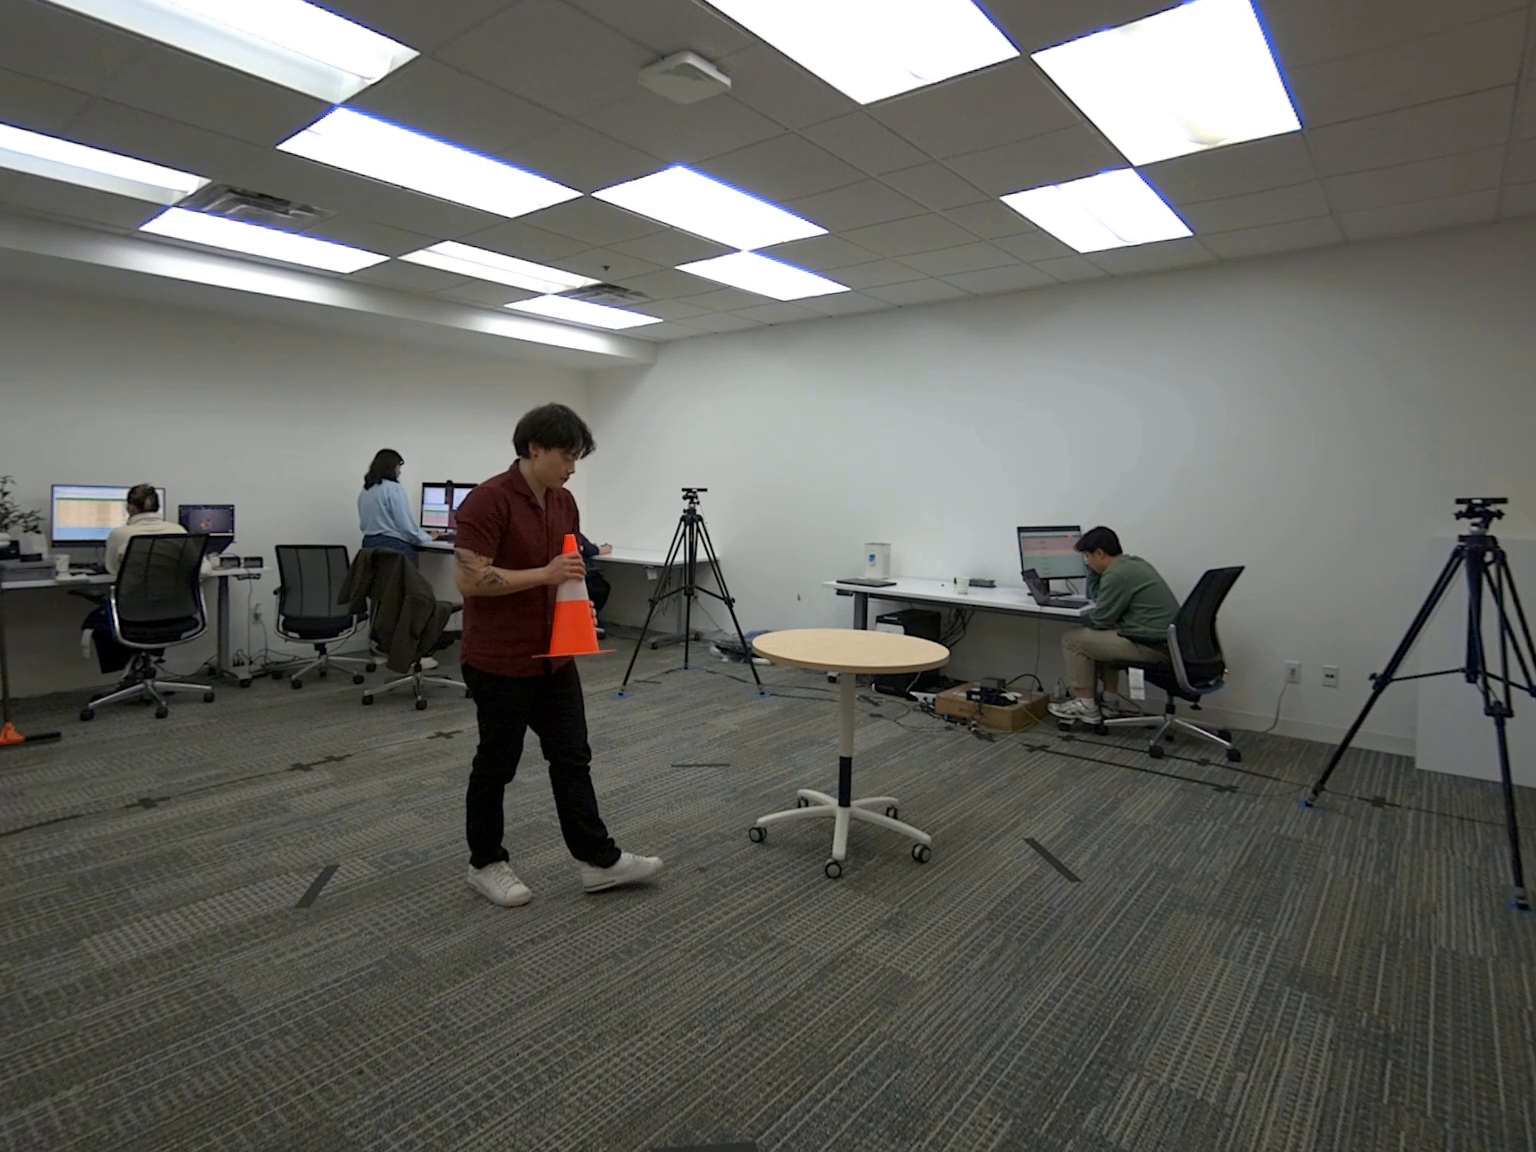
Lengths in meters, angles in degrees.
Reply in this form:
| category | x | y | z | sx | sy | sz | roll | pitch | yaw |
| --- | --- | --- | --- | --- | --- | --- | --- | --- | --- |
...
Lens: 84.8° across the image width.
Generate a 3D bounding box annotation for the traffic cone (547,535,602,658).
| category | x | y | z | sx | sy | sz | roll | pitch | yaw |
| --- | --- | --- | --- | --- | --- | --- | --- | --- | --- |
| traffic cone | -0.643 | 0.058 | 2.728 | 0.208 | 0.385 | 0.199 | -5 | -4 | 30 |
